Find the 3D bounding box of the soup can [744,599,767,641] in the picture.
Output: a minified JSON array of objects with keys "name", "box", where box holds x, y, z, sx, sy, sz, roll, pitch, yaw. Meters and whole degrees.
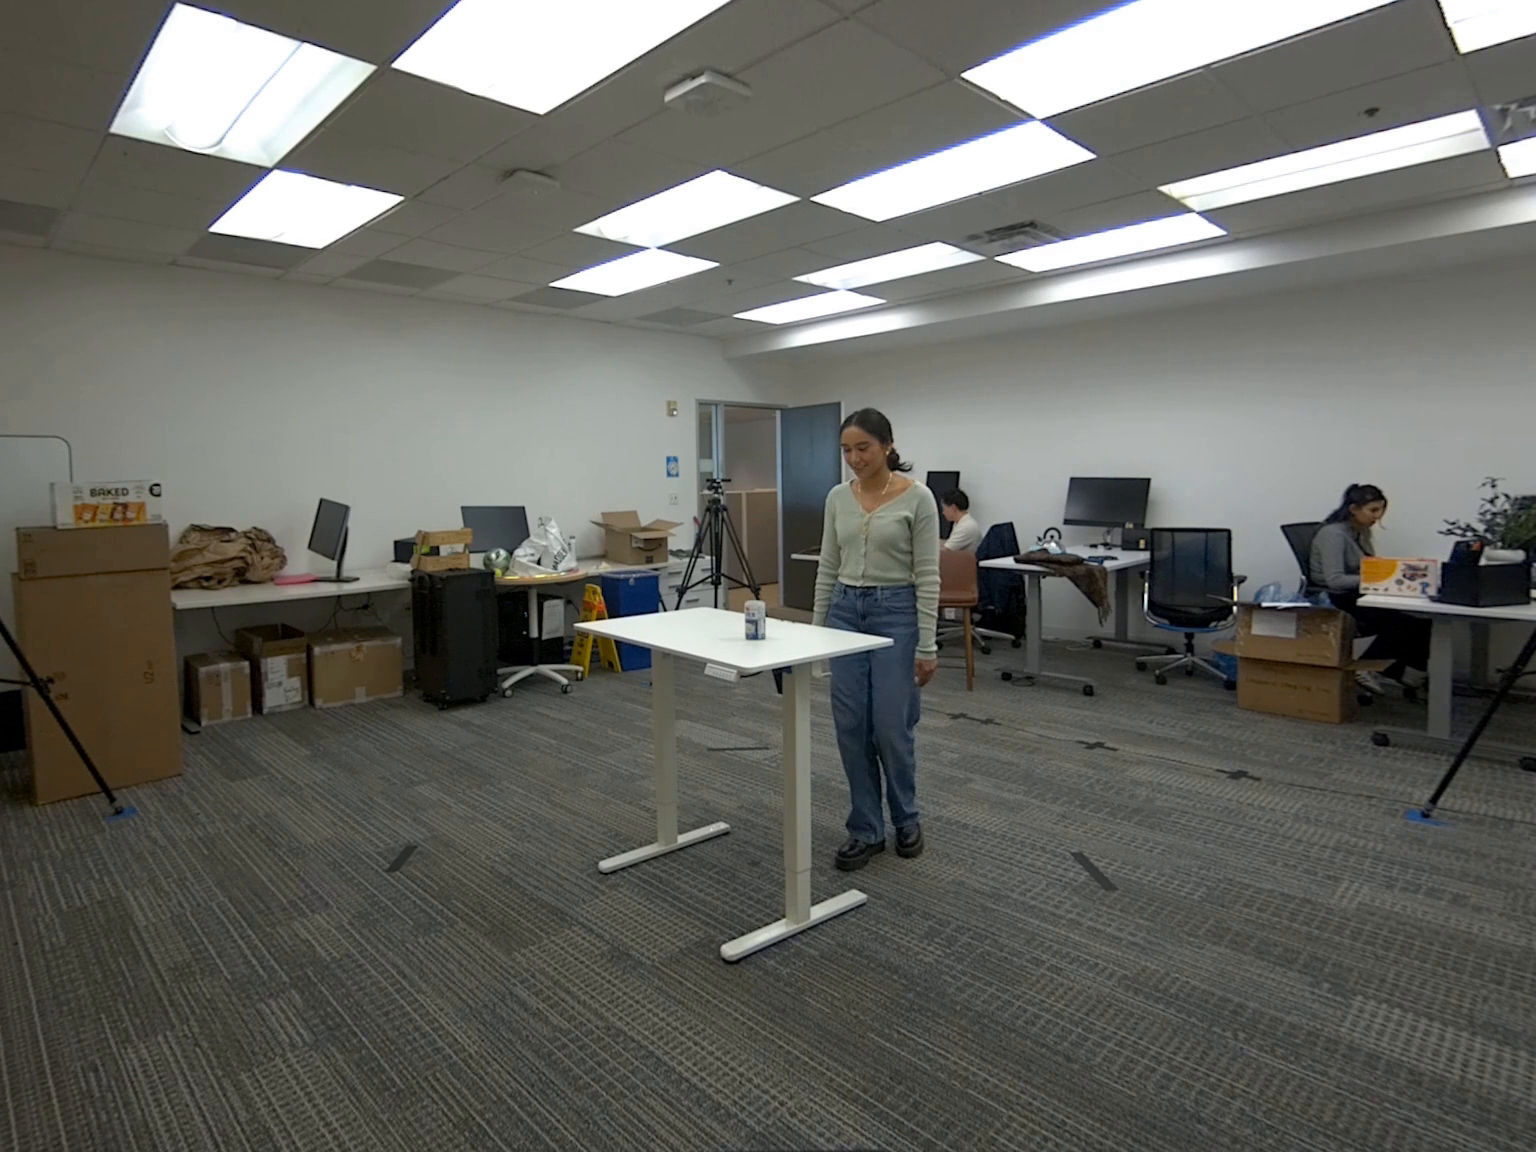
[{"name":"soup can","box":[-0.032,0.147,2.727,0.067,0.121,0.067,1,6,-2]}]
